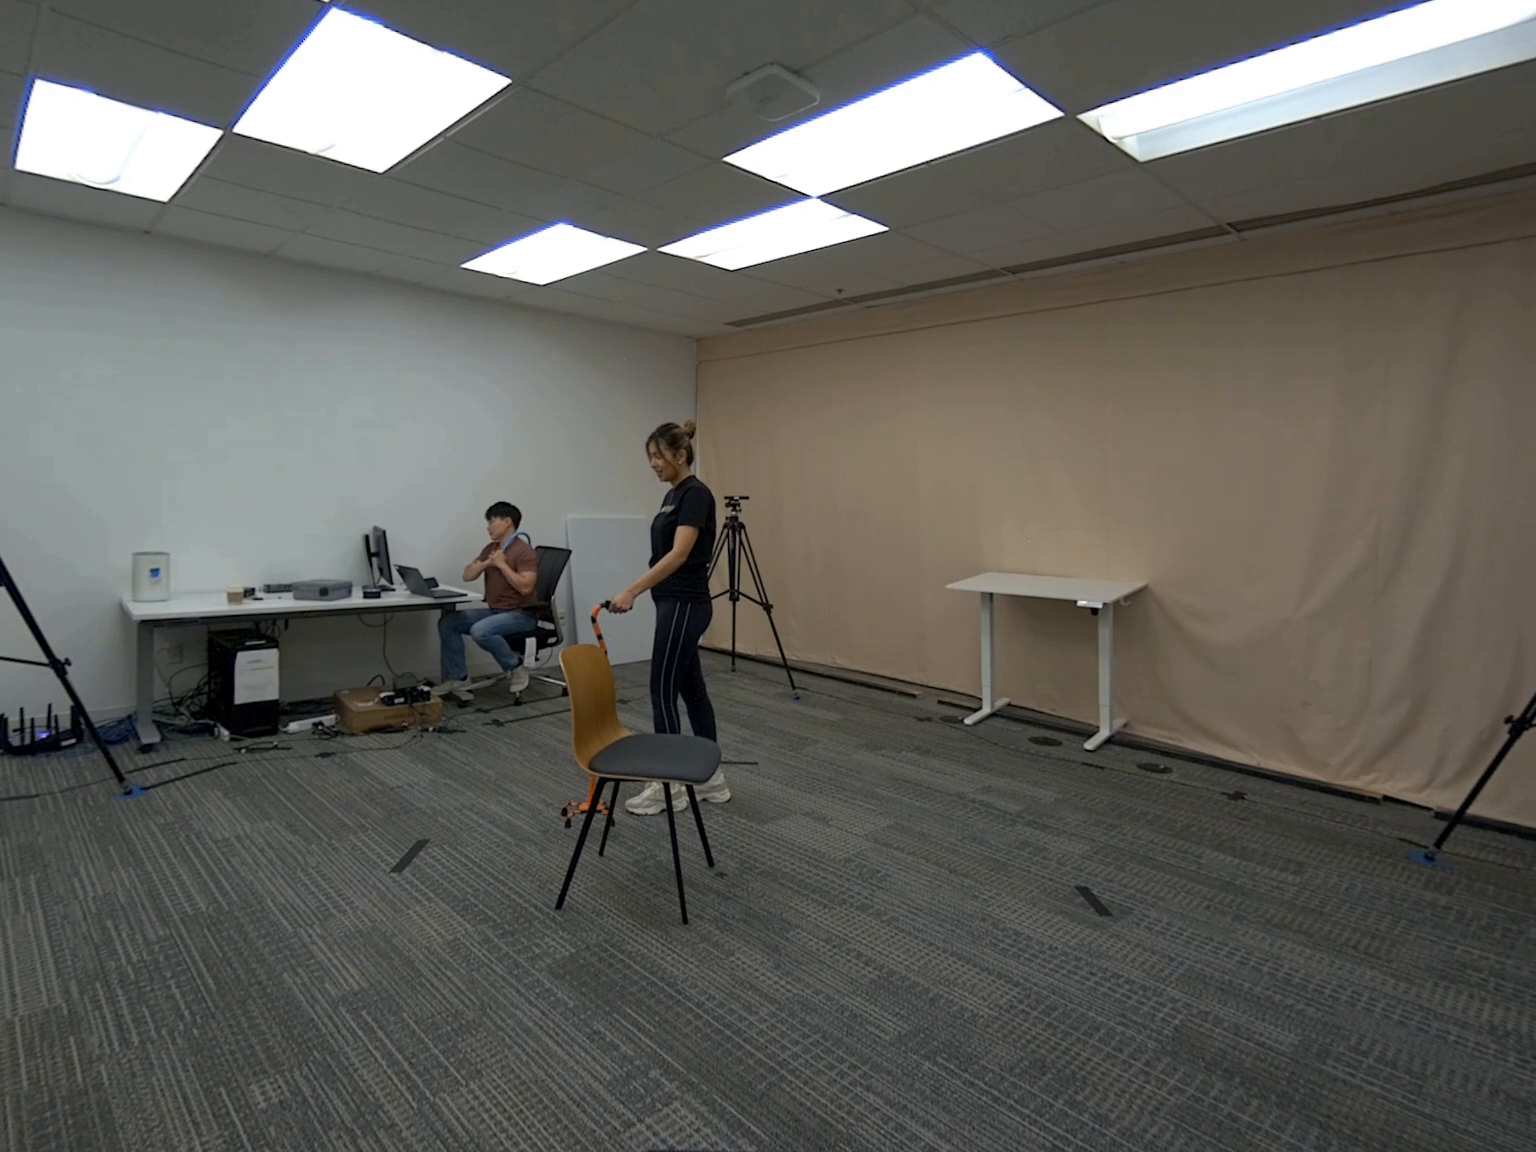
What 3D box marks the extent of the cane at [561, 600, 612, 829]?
[{"bbox_3d":[-0.691,0.557,3.416,0.203,0.905,0.155,4,5,-23],"label":"cane"}]
